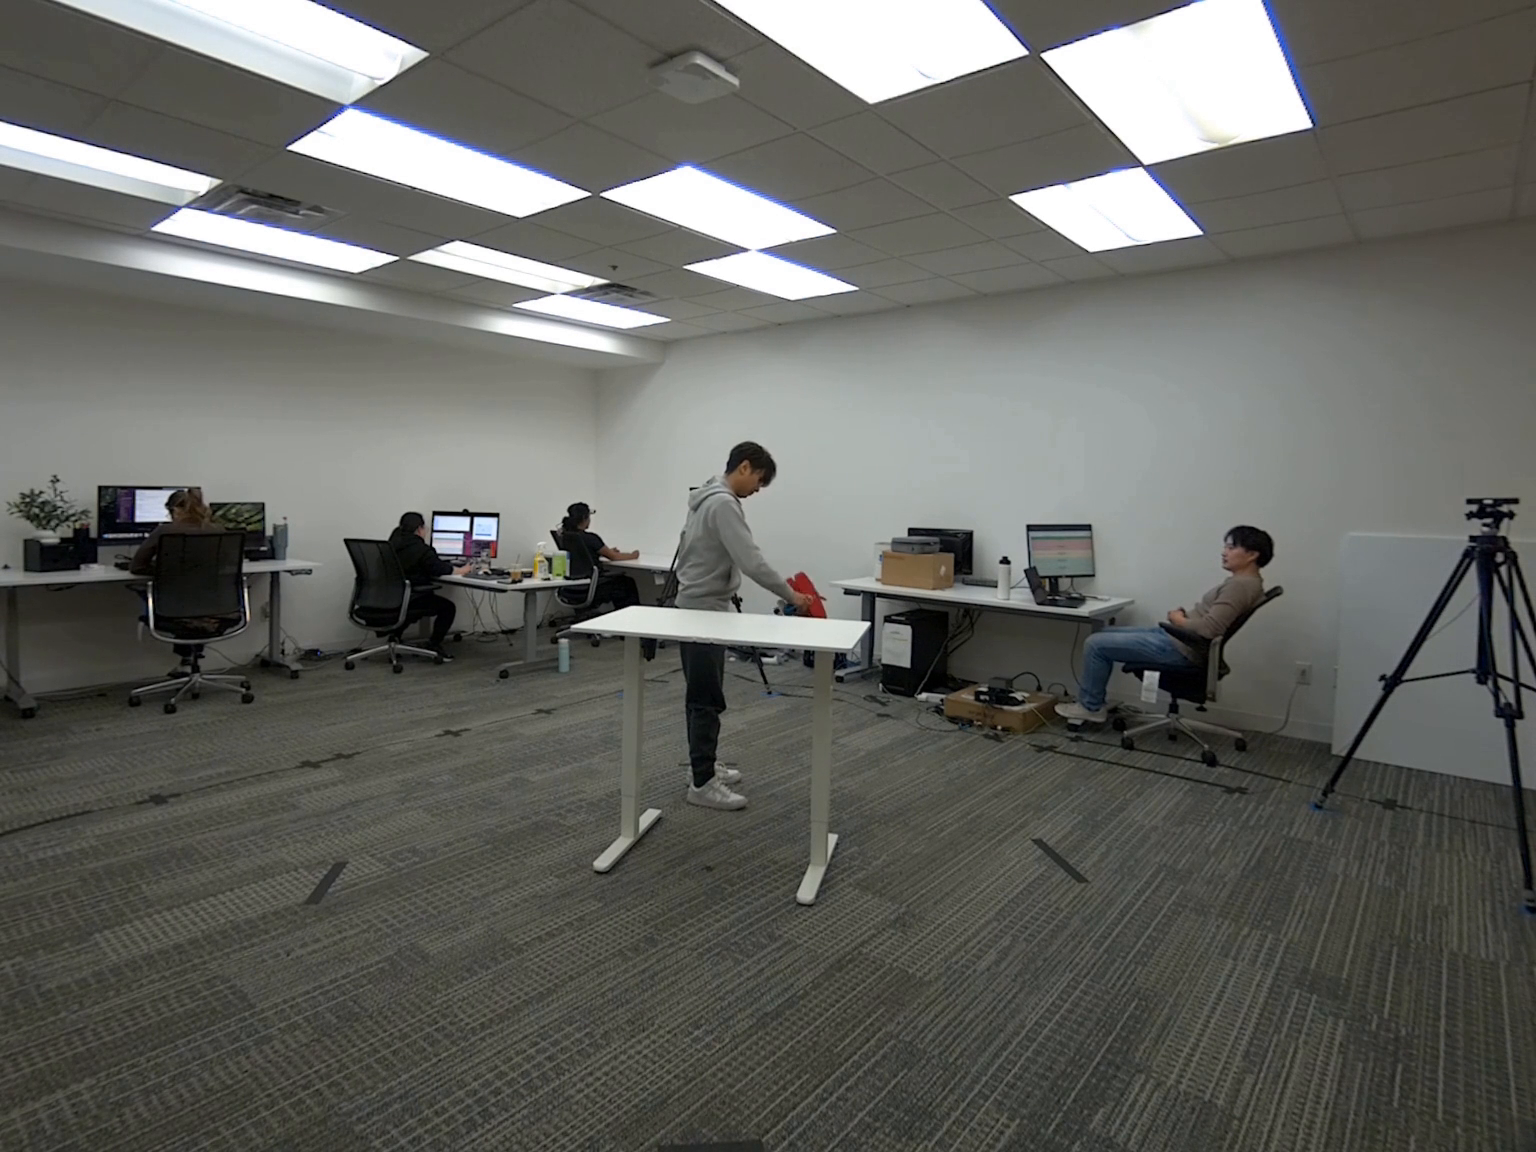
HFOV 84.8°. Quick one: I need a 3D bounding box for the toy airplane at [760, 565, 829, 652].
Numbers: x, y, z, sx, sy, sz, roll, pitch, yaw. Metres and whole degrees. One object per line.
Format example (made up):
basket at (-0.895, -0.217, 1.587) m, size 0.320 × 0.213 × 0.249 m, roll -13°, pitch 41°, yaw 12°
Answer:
toy airplane at (0.123, 0.144, 3.861) m, size 0.158 × 0.244 × 0.263 m, roll -27°, pitch 26°, yaw 30°
